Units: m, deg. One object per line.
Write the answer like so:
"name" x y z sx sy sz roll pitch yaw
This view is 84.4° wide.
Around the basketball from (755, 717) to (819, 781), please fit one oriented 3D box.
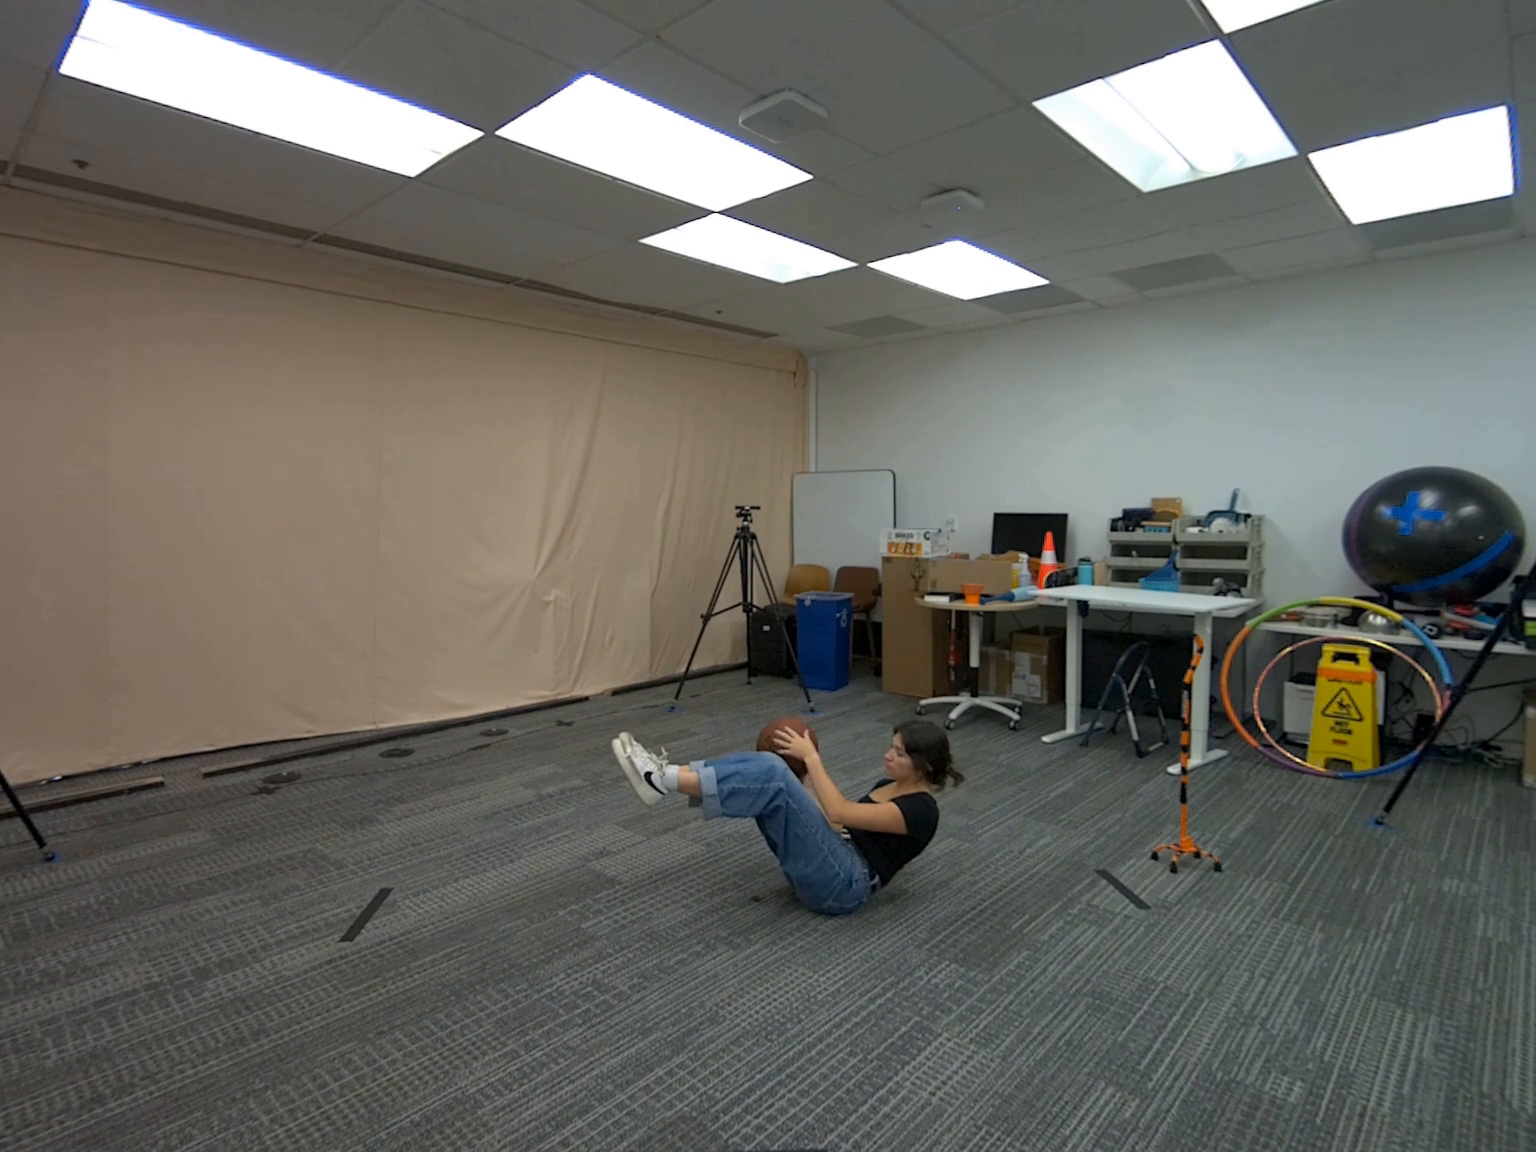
"basketball" 0.076 0.666 3.213 0.236 0.235 0.237 0 4 -2
